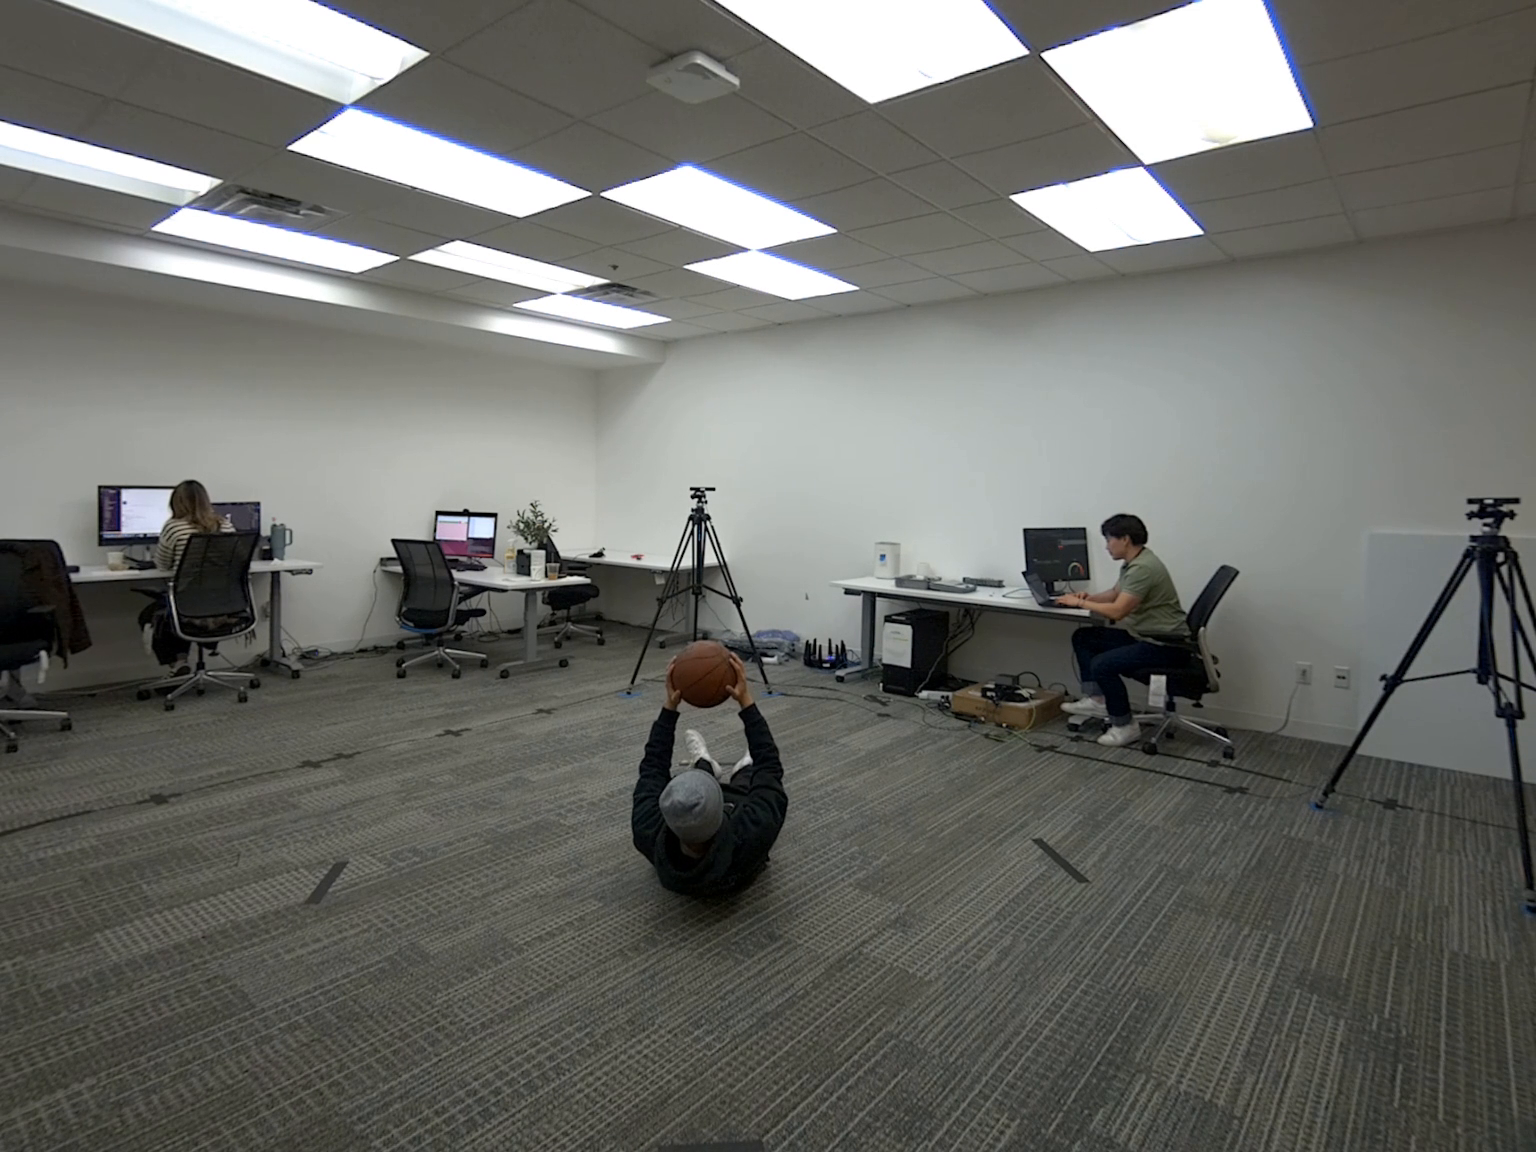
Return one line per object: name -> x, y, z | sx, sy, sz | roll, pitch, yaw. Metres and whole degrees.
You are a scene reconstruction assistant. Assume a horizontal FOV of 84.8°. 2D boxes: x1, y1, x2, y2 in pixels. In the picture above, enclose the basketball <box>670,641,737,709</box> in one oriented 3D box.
basketball -> -0.234, 0.349, 3.043 | 0.235, 0.235, 0.237 | 1, 4, -2
